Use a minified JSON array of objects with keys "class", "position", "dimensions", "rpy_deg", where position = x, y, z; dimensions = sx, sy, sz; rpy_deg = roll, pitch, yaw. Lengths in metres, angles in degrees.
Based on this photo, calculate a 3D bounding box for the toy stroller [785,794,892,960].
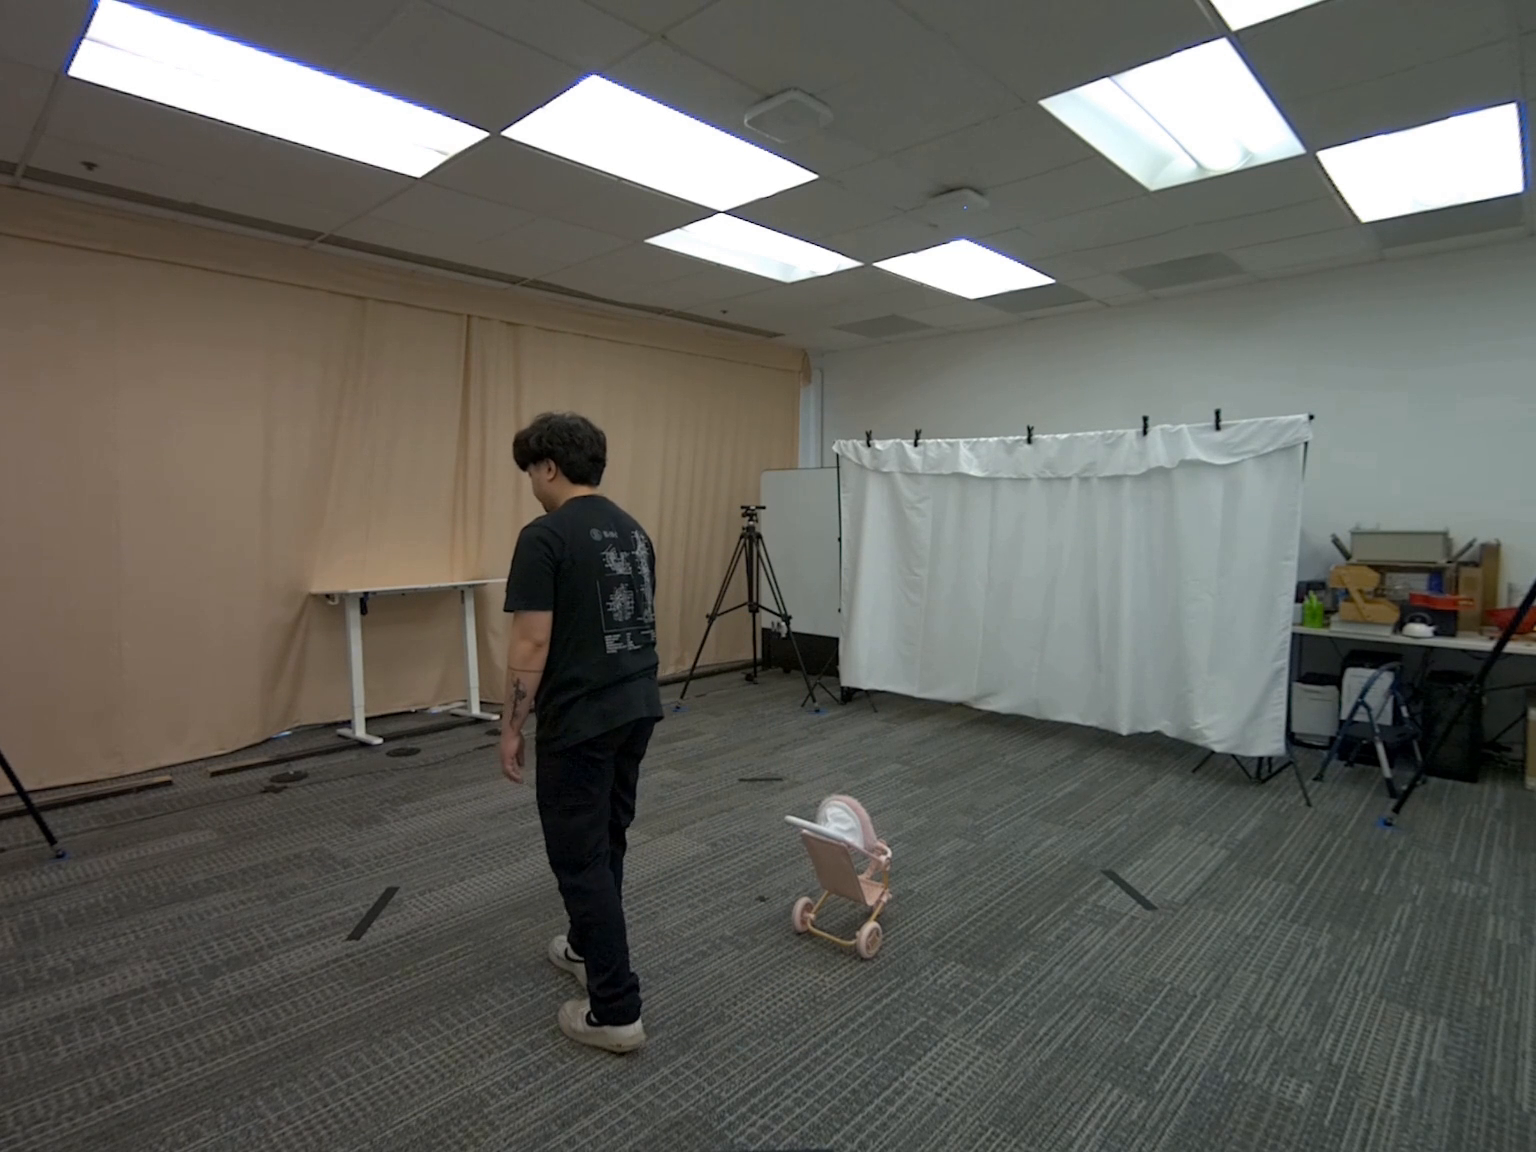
[{"class":"toy stroller","position":[0.258,0.939,2.711],"dimensions":[0.291,0.529,0.334],"rpy_deg":[3,20,43]}]
